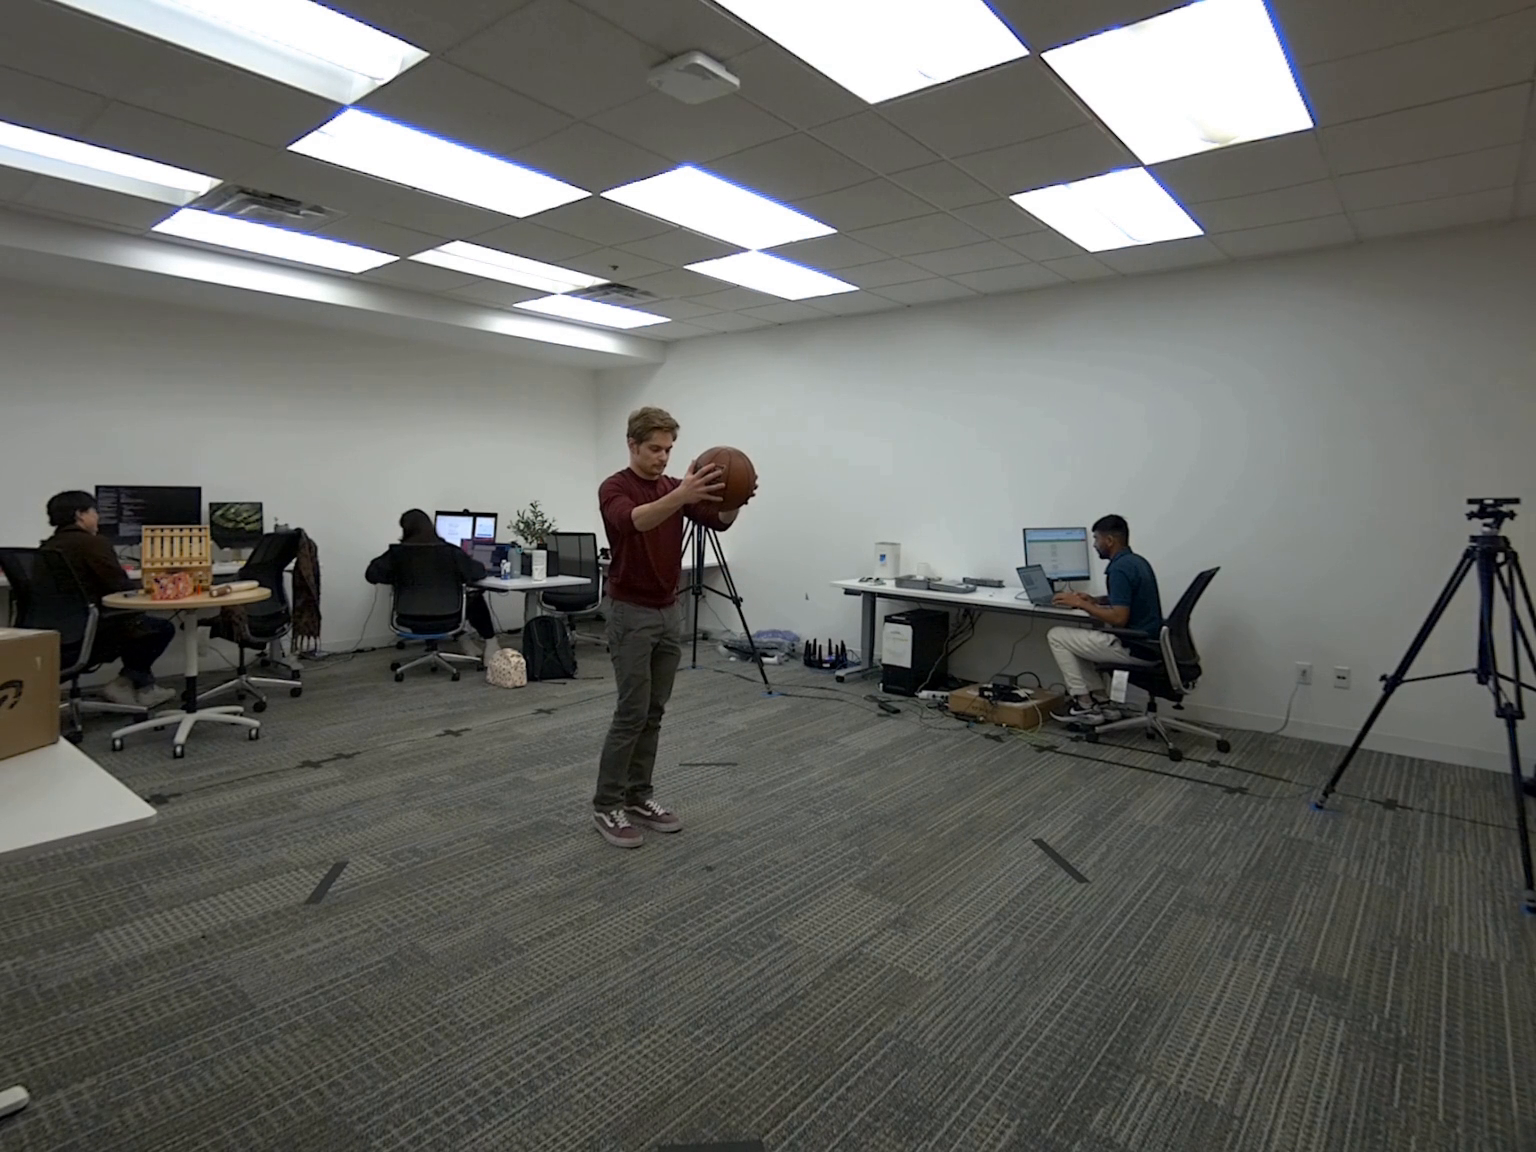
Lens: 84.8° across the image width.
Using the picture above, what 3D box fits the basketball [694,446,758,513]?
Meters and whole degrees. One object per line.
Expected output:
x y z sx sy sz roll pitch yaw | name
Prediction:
-0.168 -0.357 3.068 0.235 0.235 0.237 1 4 -2 | basketball
